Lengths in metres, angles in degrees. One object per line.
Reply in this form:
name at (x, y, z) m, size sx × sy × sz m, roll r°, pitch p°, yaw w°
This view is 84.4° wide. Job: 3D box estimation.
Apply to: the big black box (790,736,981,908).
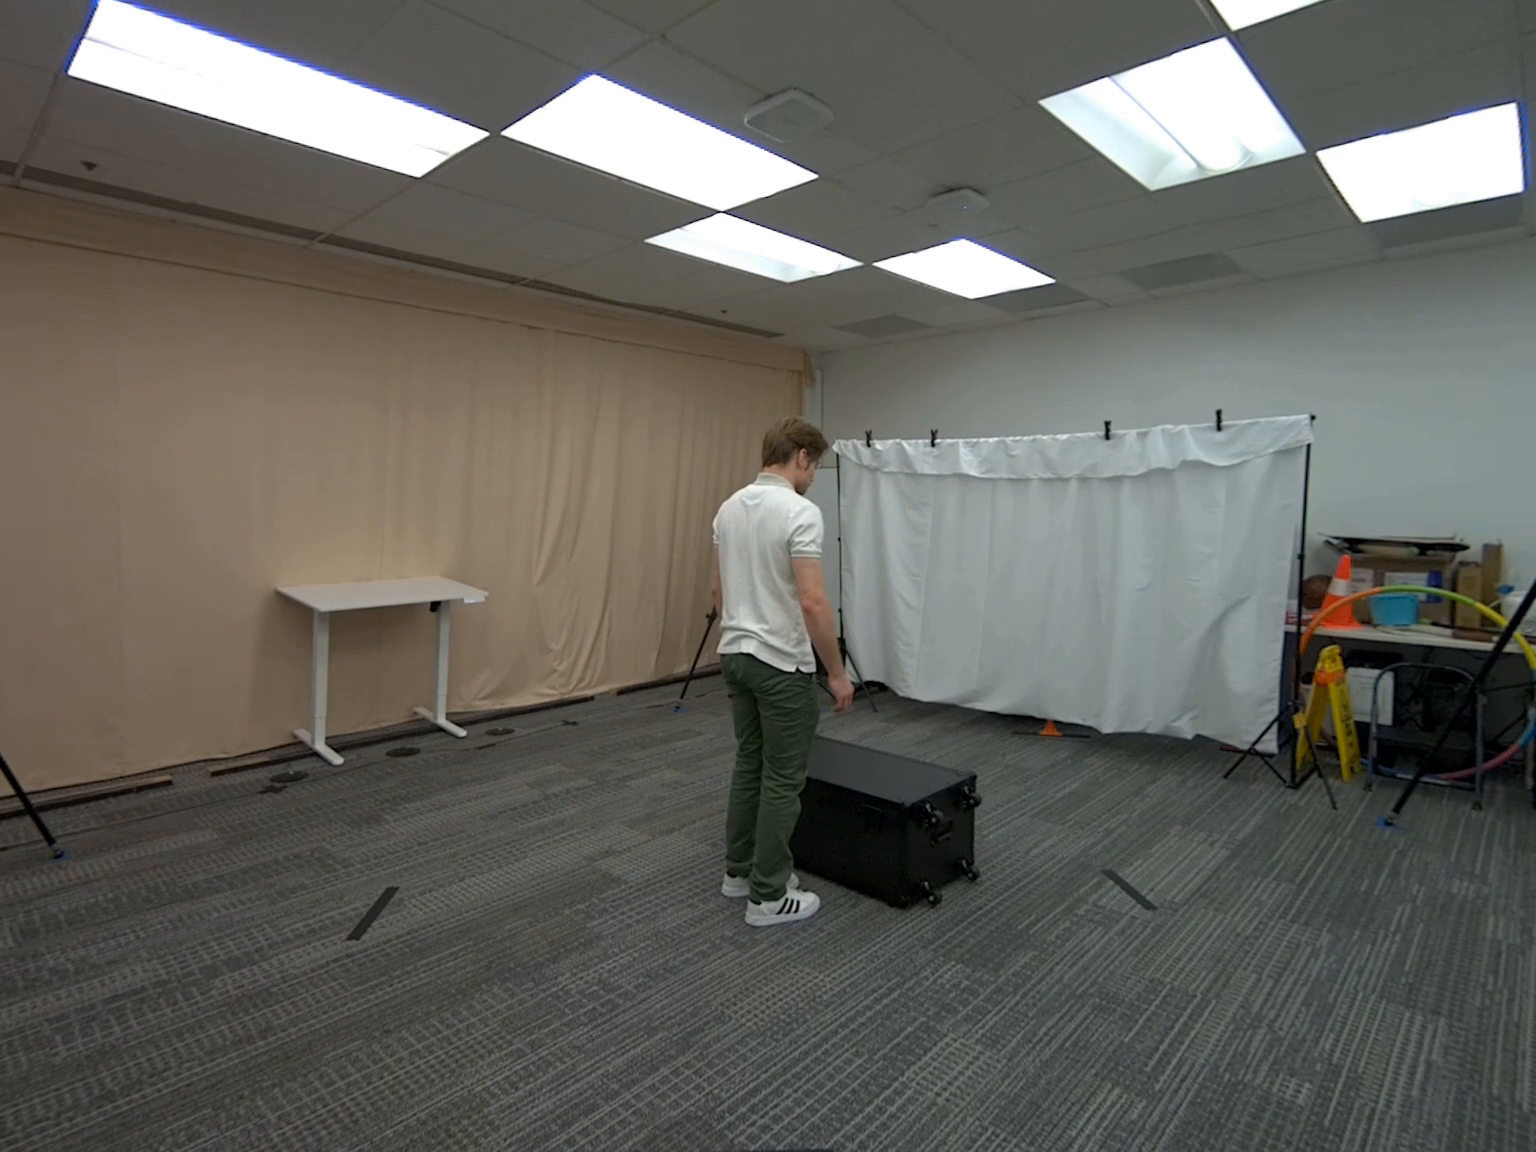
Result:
big black box at (0.362, 0.921, 3.275) m, size 0.898 × 0.384 × 0.507 m, roll 5°, pitch 5°, yaw 43°
